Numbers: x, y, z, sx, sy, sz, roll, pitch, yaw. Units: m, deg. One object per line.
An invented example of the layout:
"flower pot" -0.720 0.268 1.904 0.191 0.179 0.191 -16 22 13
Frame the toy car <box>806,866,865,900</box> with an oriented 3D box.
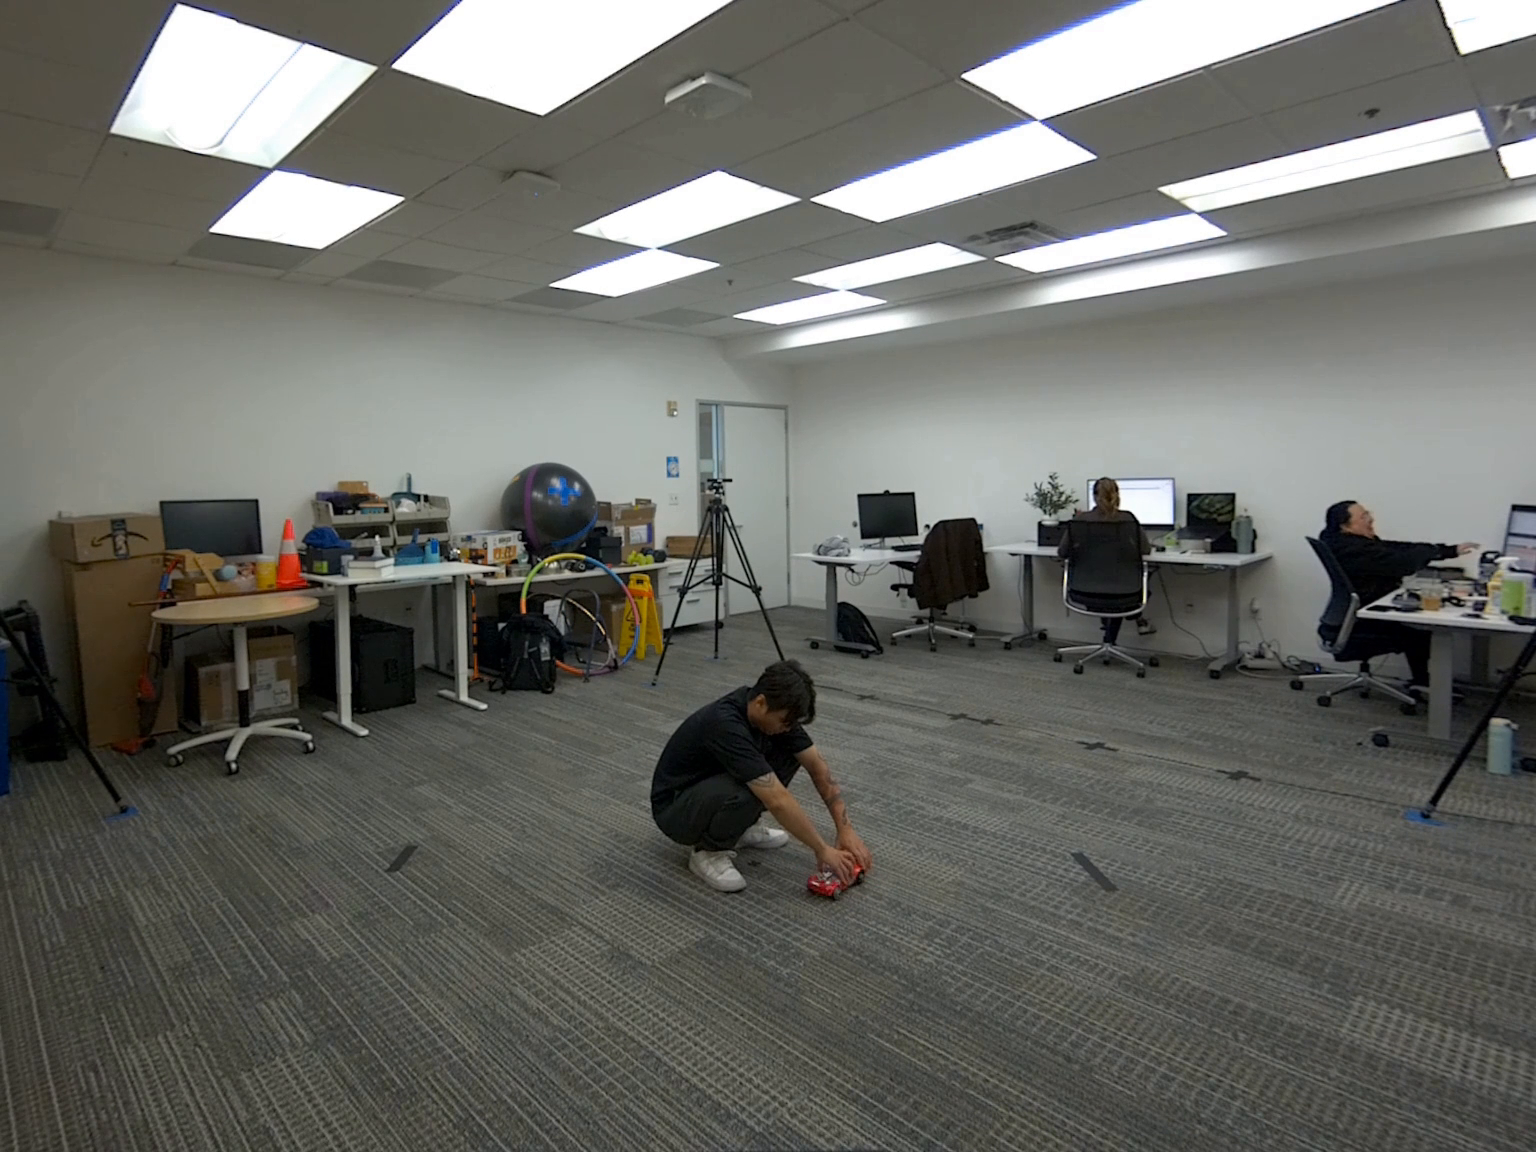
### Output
"toy car" 0.244 1.027 2.928 0.134 0.082 0.250 4 18 41
